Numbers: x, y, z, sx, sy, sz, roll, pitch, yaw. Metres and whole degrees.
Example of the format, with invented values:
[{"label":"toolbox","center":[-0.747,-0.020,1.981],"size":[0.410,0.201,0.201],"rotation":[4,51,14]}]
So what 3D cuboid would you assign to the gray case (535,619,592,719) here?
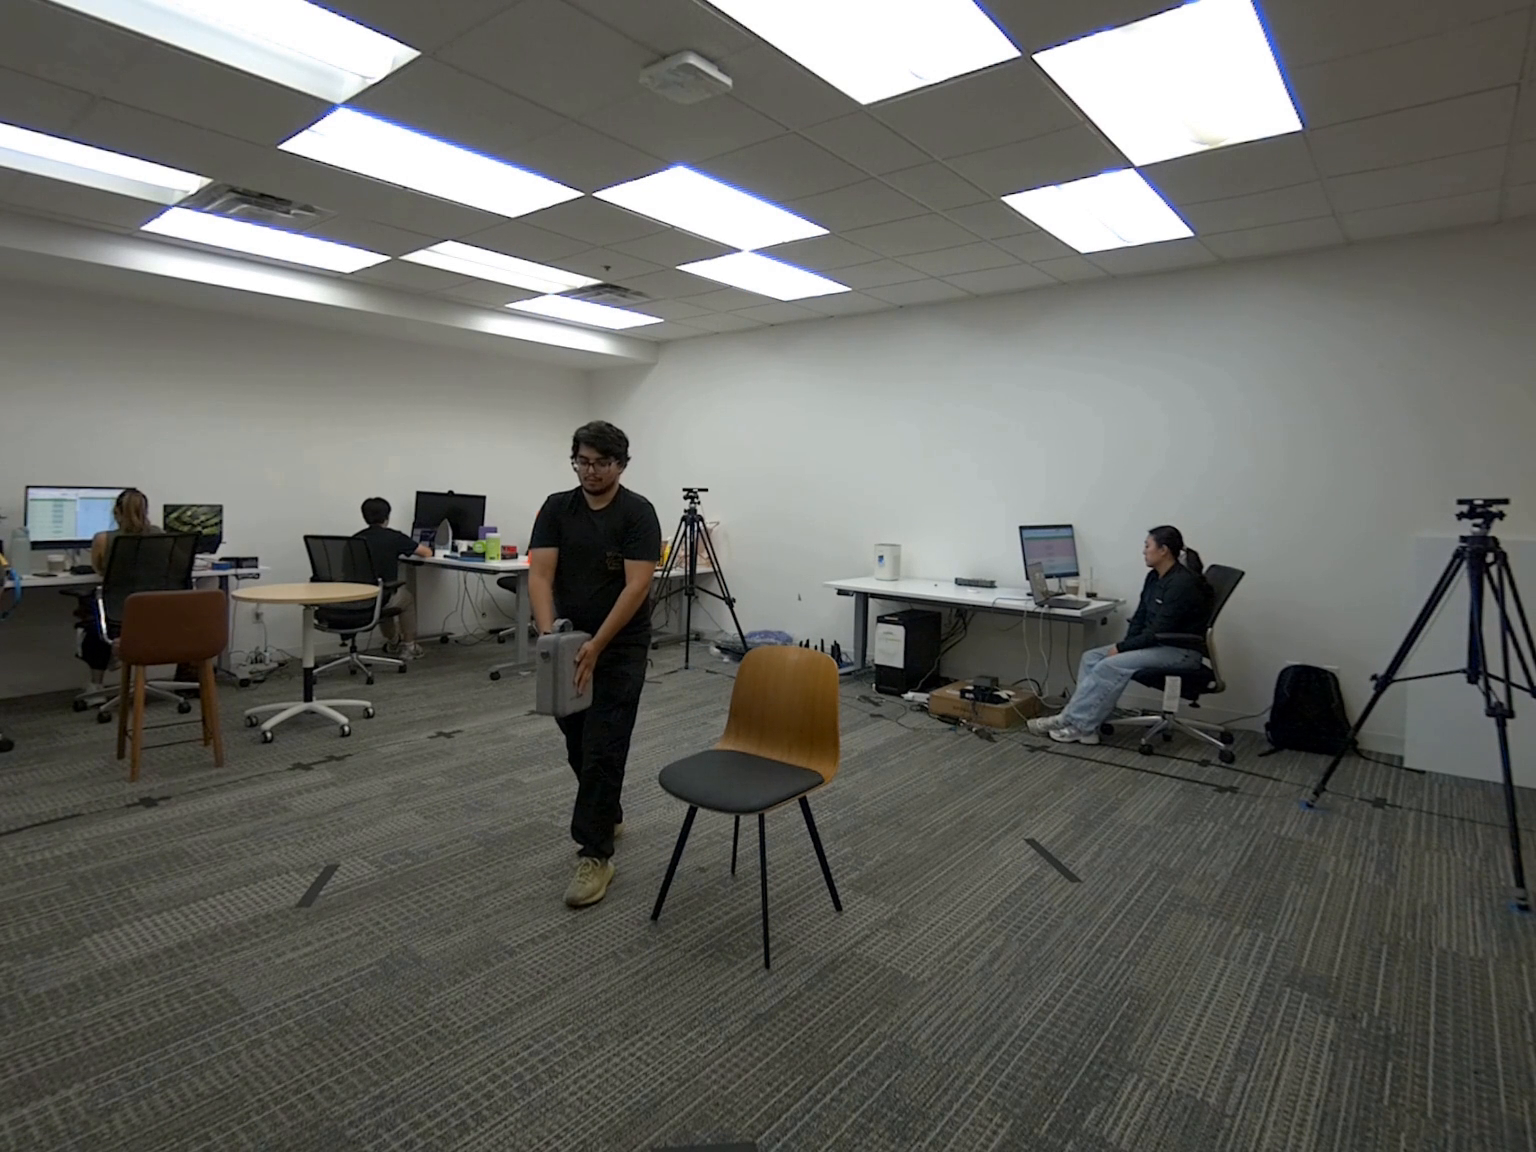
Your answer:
[{"label":"gray case","center":[-0.663,0.302,2.721],"size":[0.105,0.262,0.254],"rotation":[-1,-3,6]}]
